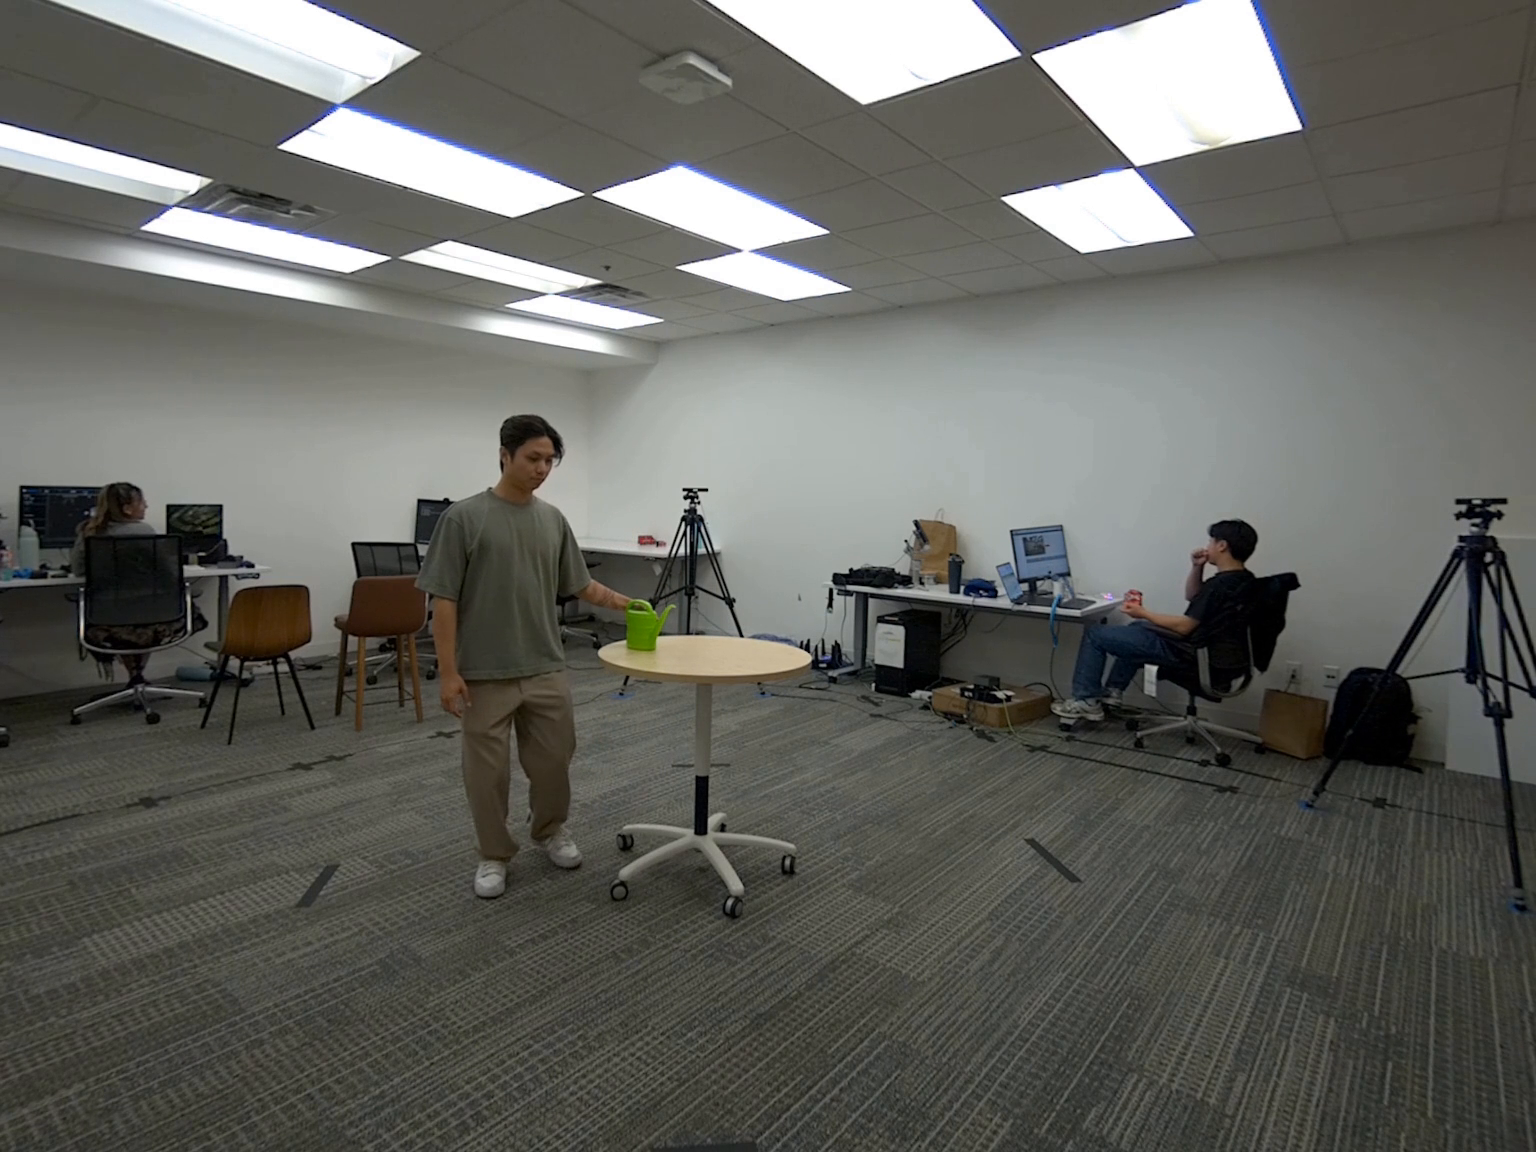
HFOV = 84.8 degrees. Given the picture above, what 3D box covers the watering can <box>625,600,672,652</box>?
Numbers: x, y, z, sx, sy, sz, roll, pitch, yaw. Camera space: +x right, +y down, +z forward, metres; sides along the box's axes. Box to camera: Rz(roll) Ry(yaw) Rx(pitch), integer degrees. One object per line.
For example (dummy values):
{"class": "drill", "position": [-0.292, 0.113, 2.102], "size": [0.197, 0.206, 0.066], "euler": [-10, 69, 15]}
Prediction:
{"class": "watering can", "position": [-0.453, 0.184, 3.082], "size": [0.095, 0.176, 0.287], "euler": [-3, 5, -33]}
